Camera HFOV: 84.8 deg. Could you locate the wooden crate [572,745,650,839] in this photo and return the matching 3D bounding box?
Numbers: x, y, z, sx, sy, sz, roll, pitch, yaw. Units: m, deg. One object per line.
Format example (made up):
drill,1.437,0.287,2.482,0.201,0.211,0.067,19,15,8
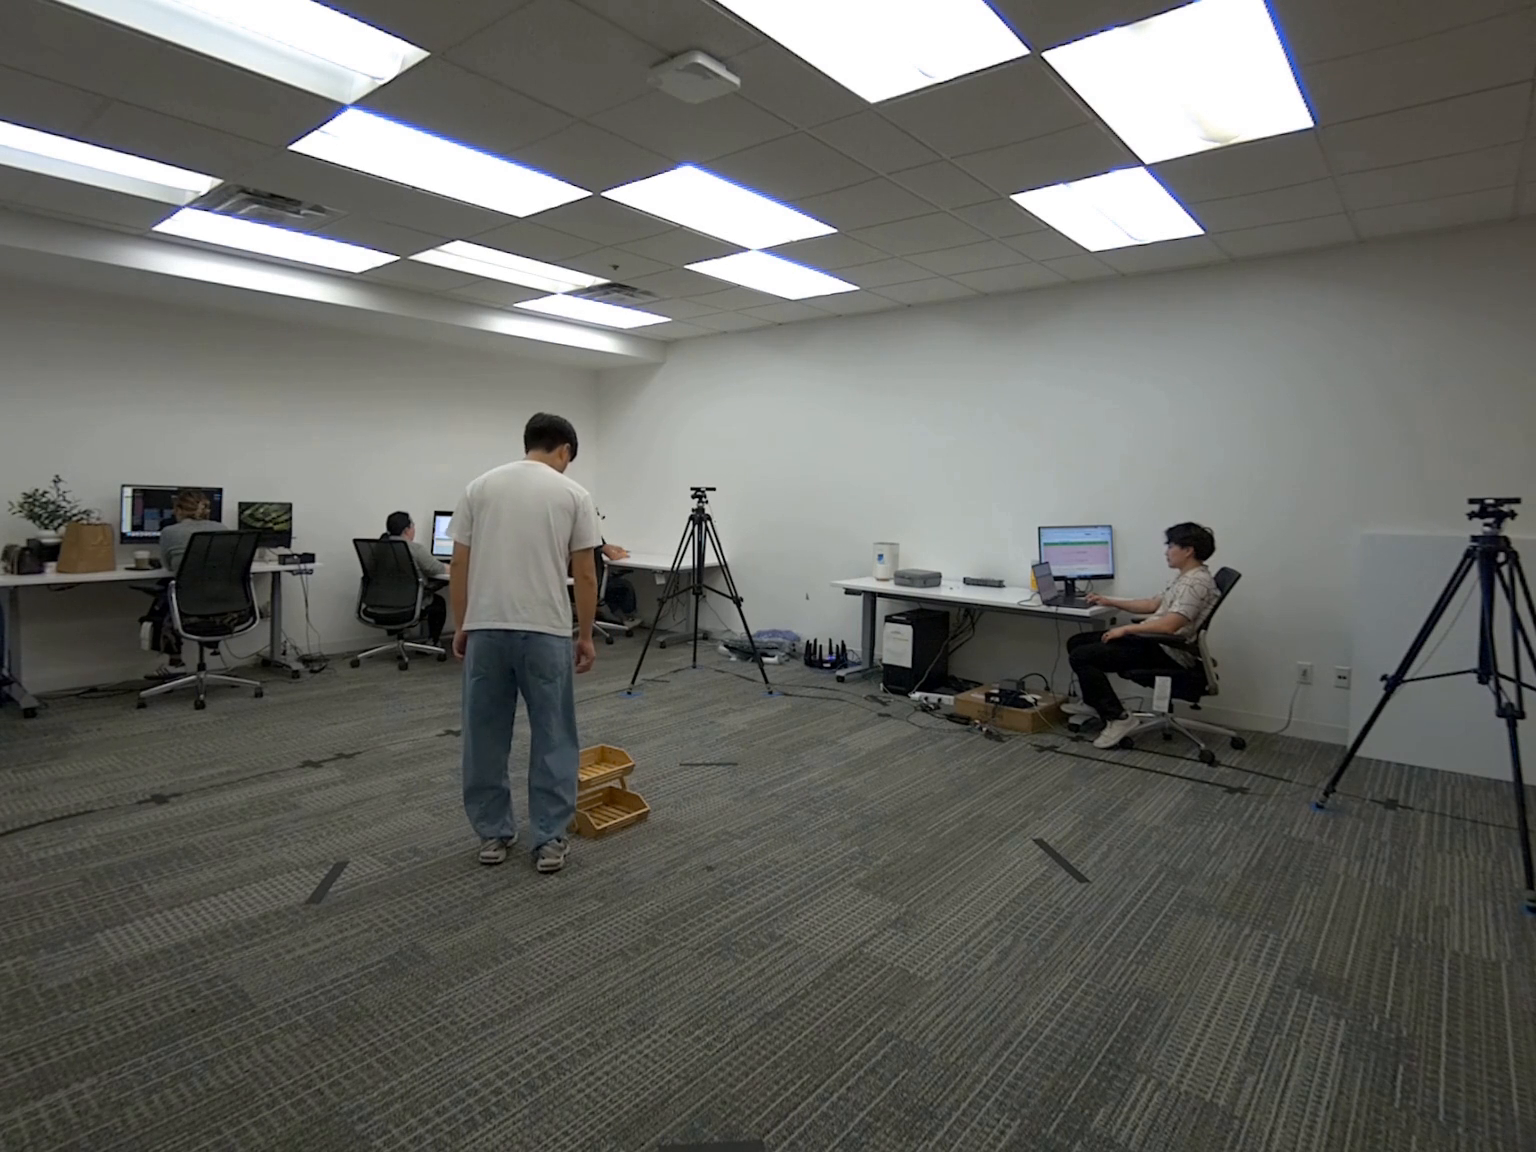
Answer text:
wooden crate,-0.712,0.882,3.537,0.312,0.272,0.315,3,5,38
